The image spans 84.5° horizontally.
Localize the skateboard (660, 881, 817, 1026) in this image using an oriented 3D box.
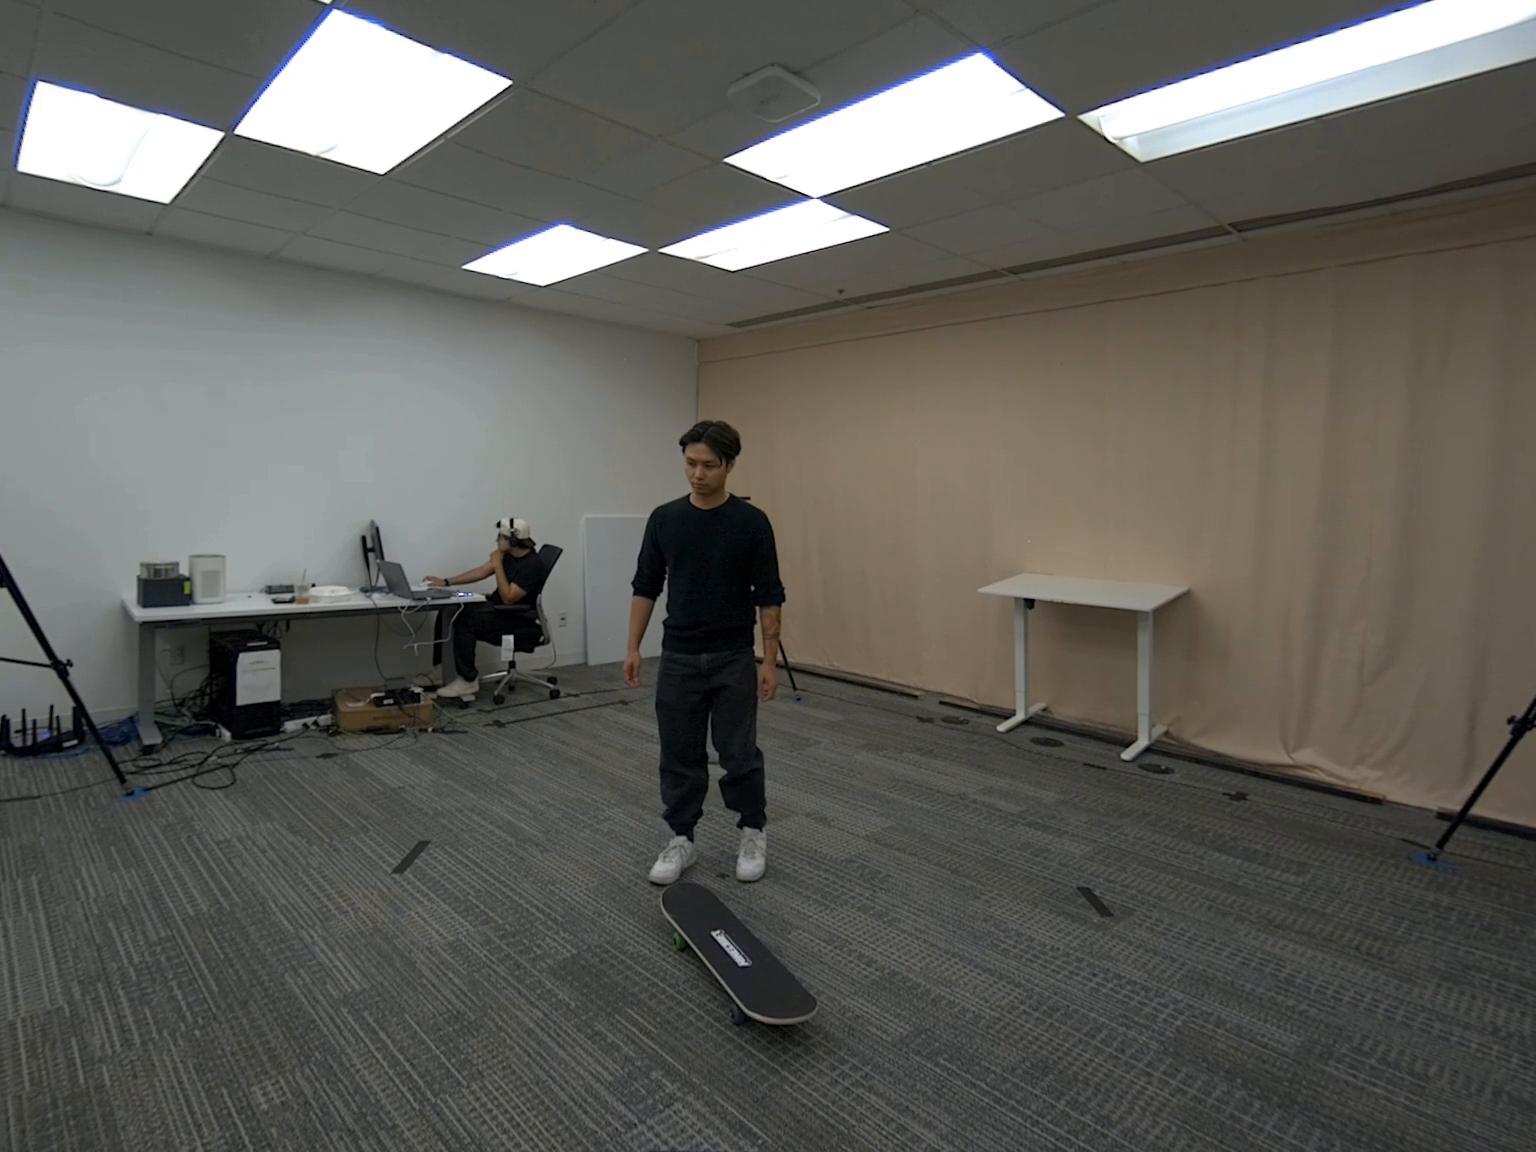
[{"bbox_3d":[-0.120,1.117,2.444,0.190,0.110,0.803,-2,6,-27],"label":"skateboard"}]
